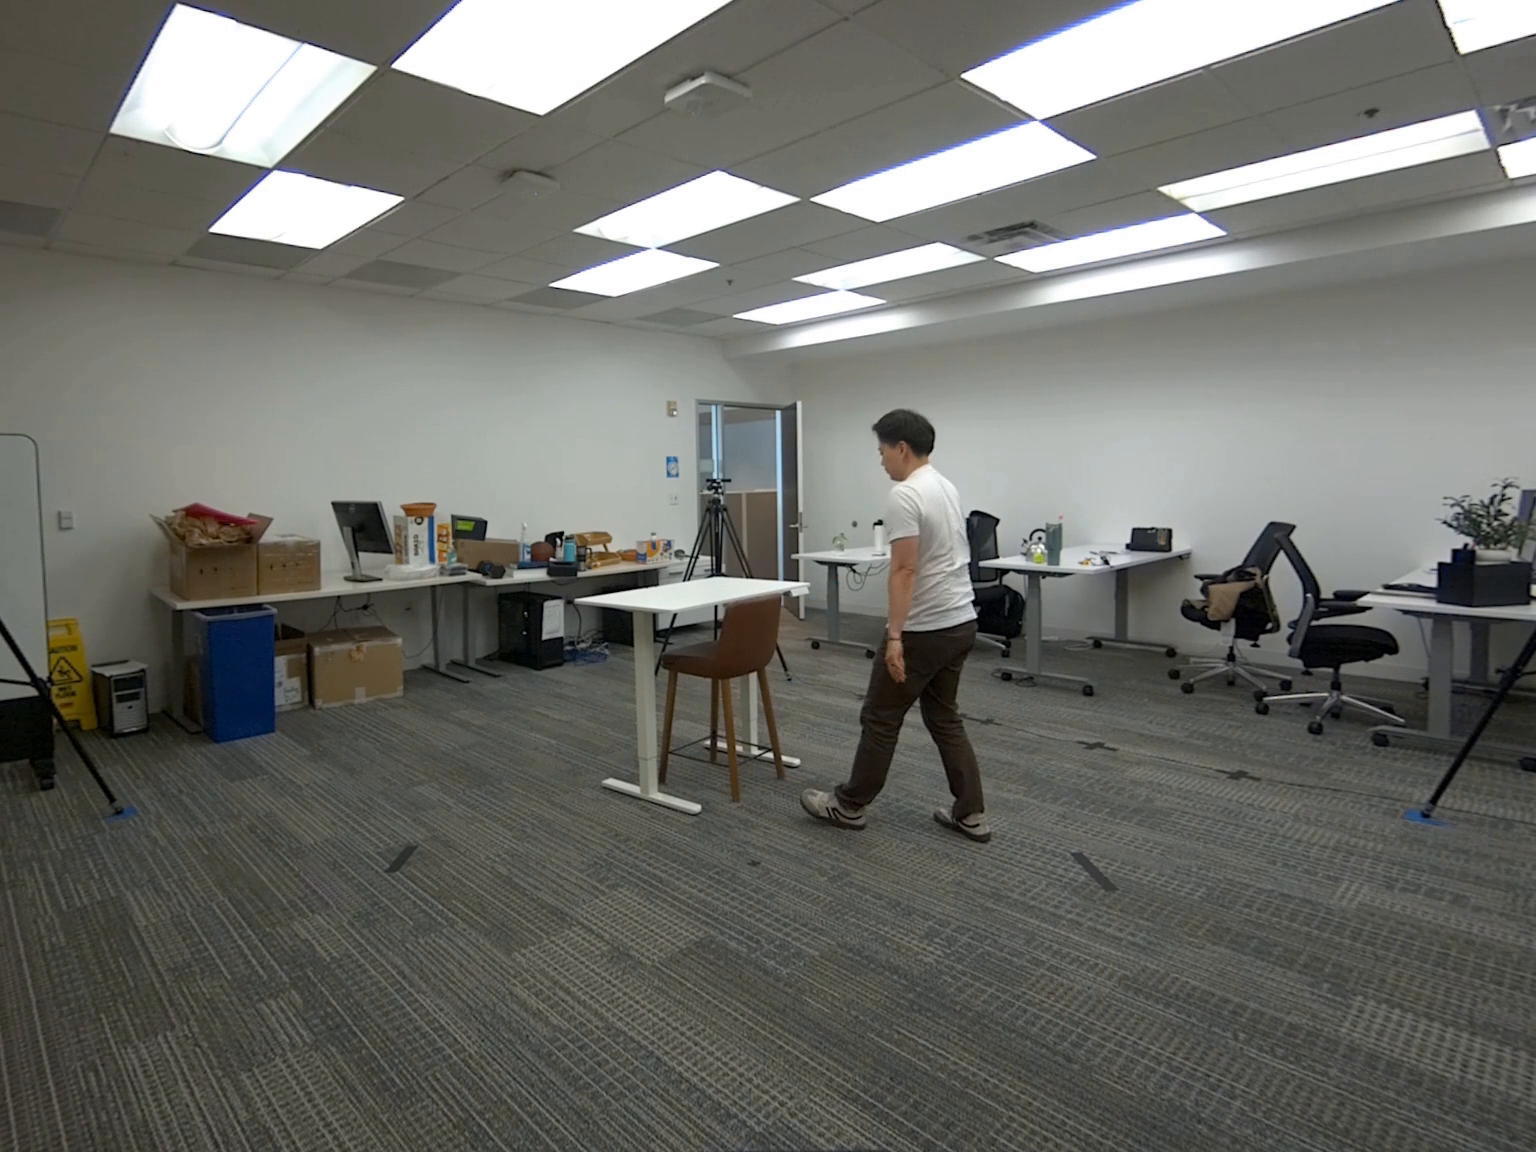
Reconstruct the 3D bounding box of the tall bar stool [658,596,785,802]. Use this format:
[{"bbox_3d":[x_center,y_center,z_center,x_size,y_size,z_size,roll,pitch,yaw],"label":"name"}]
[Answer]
[{"bbox_3d":[-0.211,0.518,3.948,0.482,0.886,0.445,4,6,37],"label":"tall bar stool"}]
